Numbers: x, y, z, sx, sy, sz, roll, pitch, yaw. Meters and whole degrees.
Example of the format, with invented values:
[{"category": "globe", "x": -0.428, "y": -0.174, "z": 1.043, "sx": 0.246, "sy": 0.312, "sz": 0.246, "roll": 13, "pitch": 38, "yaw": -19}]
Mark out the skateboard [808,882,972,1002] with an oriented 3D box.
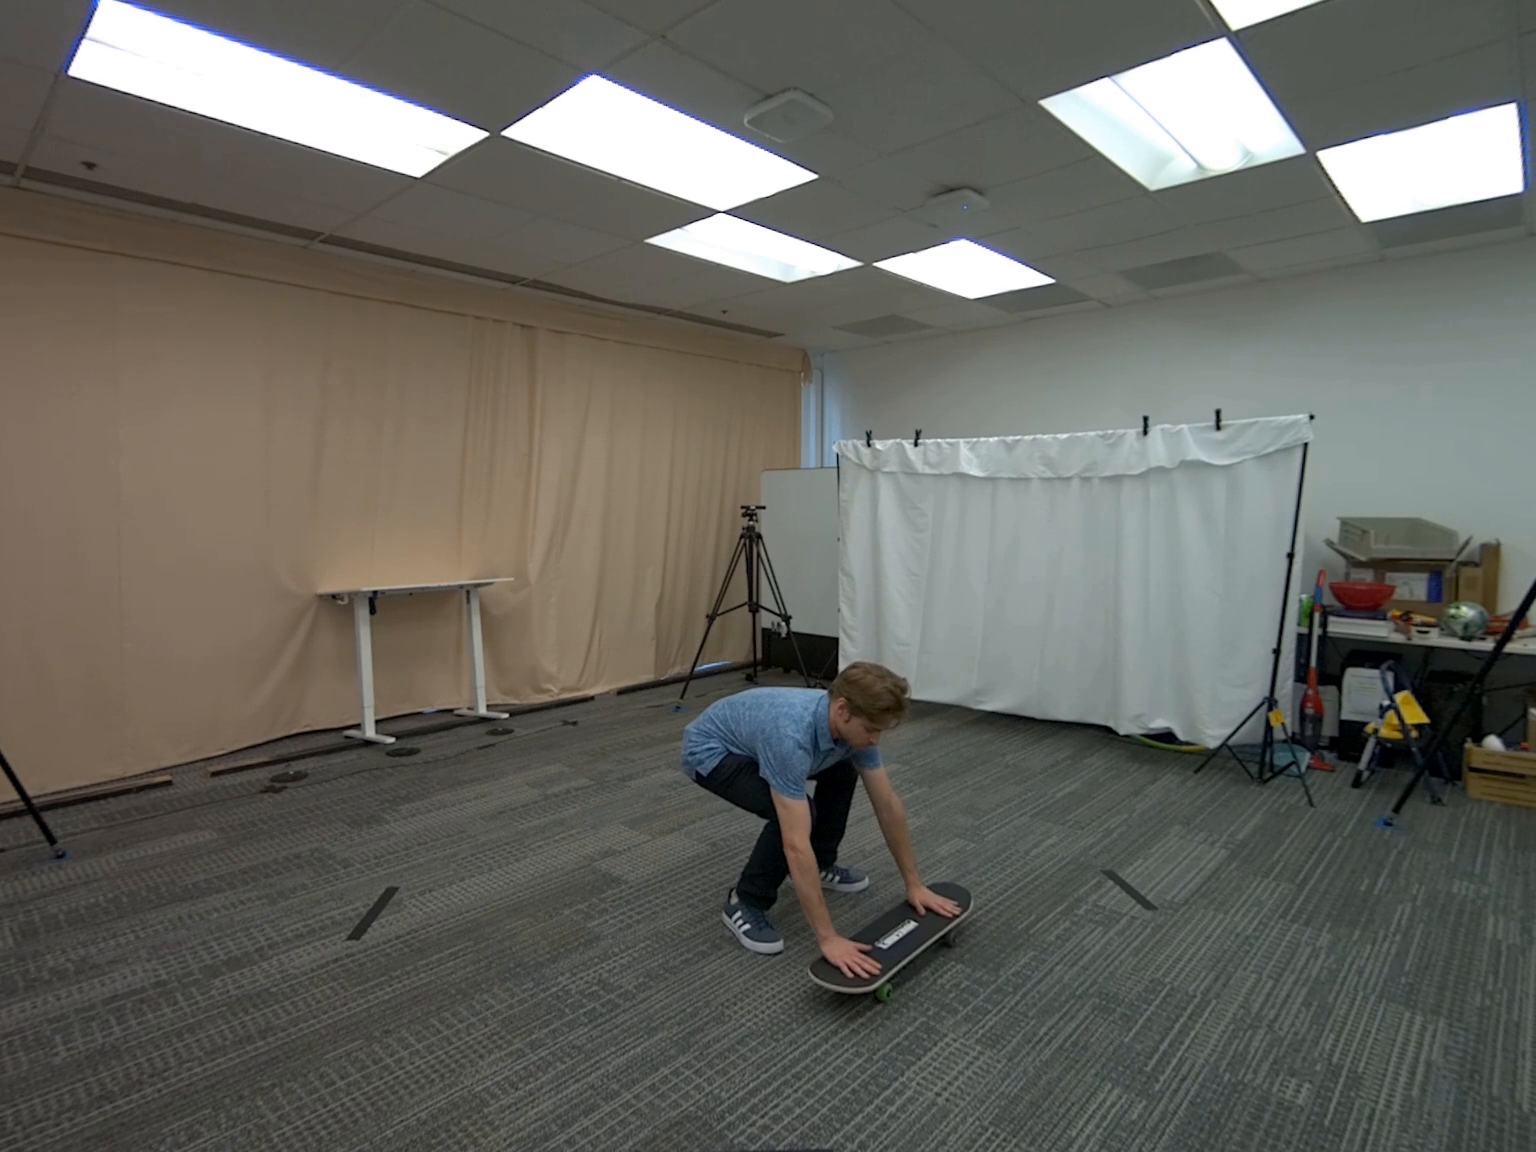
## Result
[{"category": "skateboard", "x": 0.395, "y": 1.120, "z": 2.565, "sx": 0.200, "sy": 0.110, "sz": 0.762, "roll": 5, "pitch": 7, "yaw": 41}]
